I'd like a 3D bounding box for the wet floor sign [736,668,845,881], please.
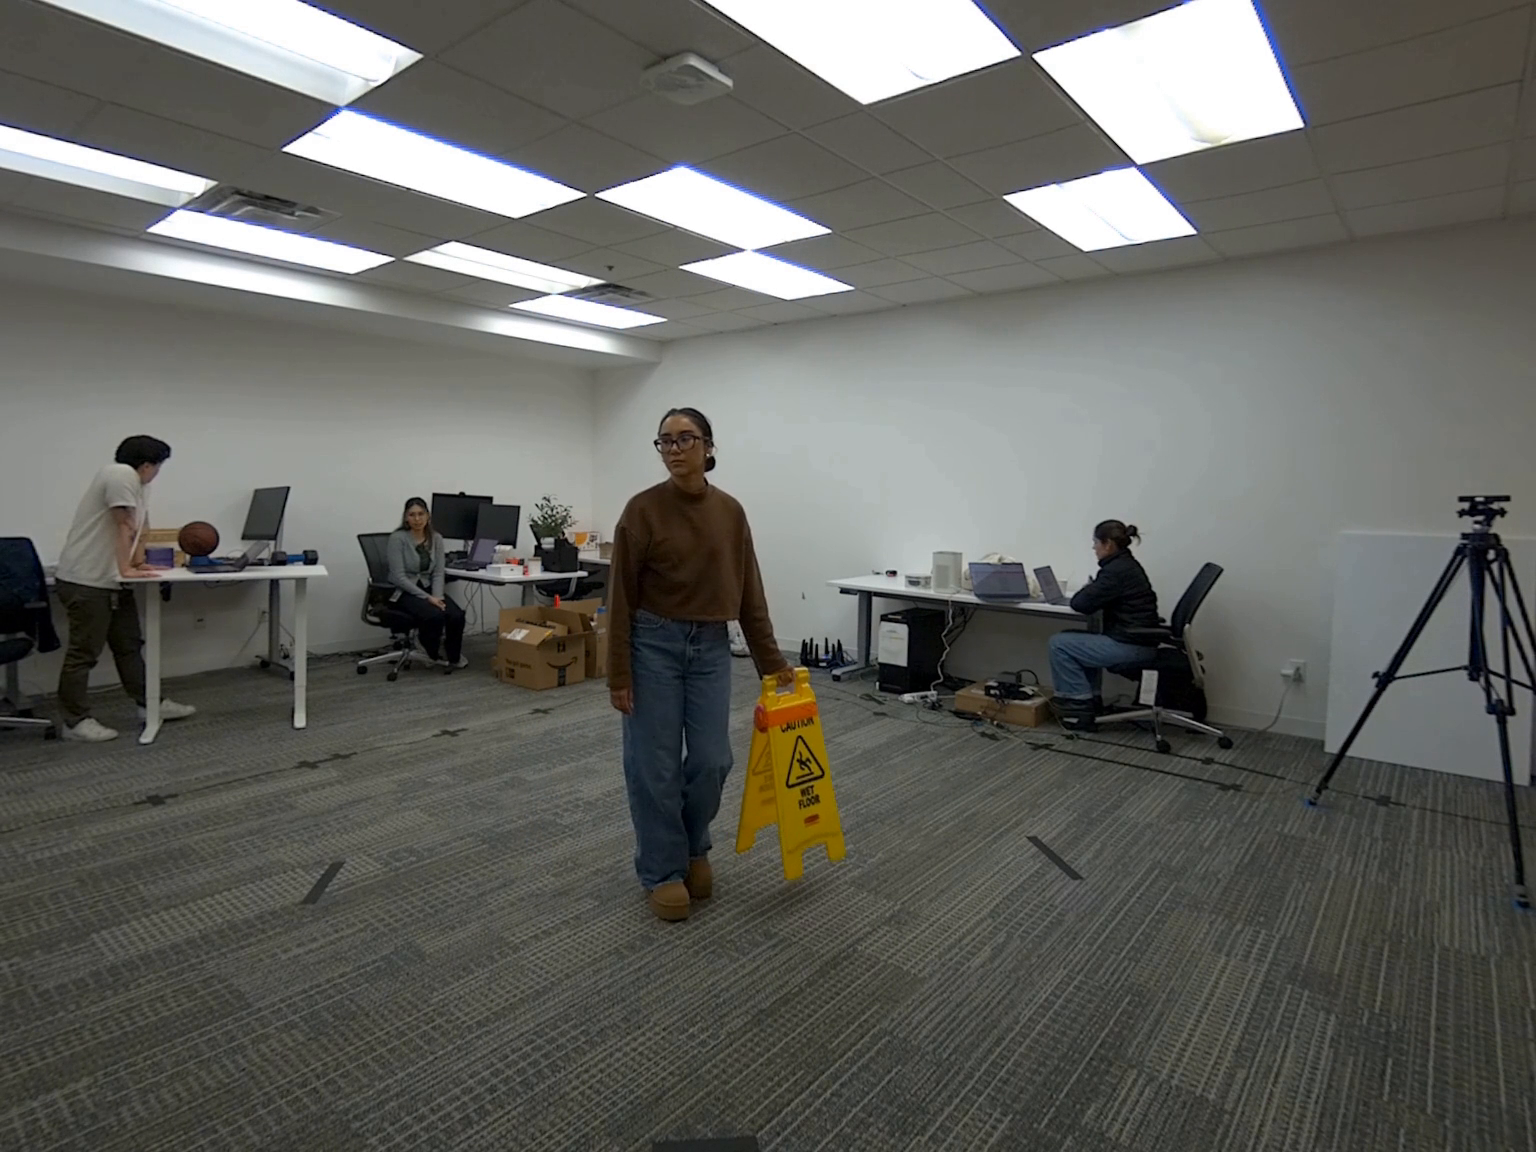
[{"bbox_3d":[0.055,0.648,2.932,0.274,0.644,0.299,-4,4,-39],"label":"wet floor sign"}]
